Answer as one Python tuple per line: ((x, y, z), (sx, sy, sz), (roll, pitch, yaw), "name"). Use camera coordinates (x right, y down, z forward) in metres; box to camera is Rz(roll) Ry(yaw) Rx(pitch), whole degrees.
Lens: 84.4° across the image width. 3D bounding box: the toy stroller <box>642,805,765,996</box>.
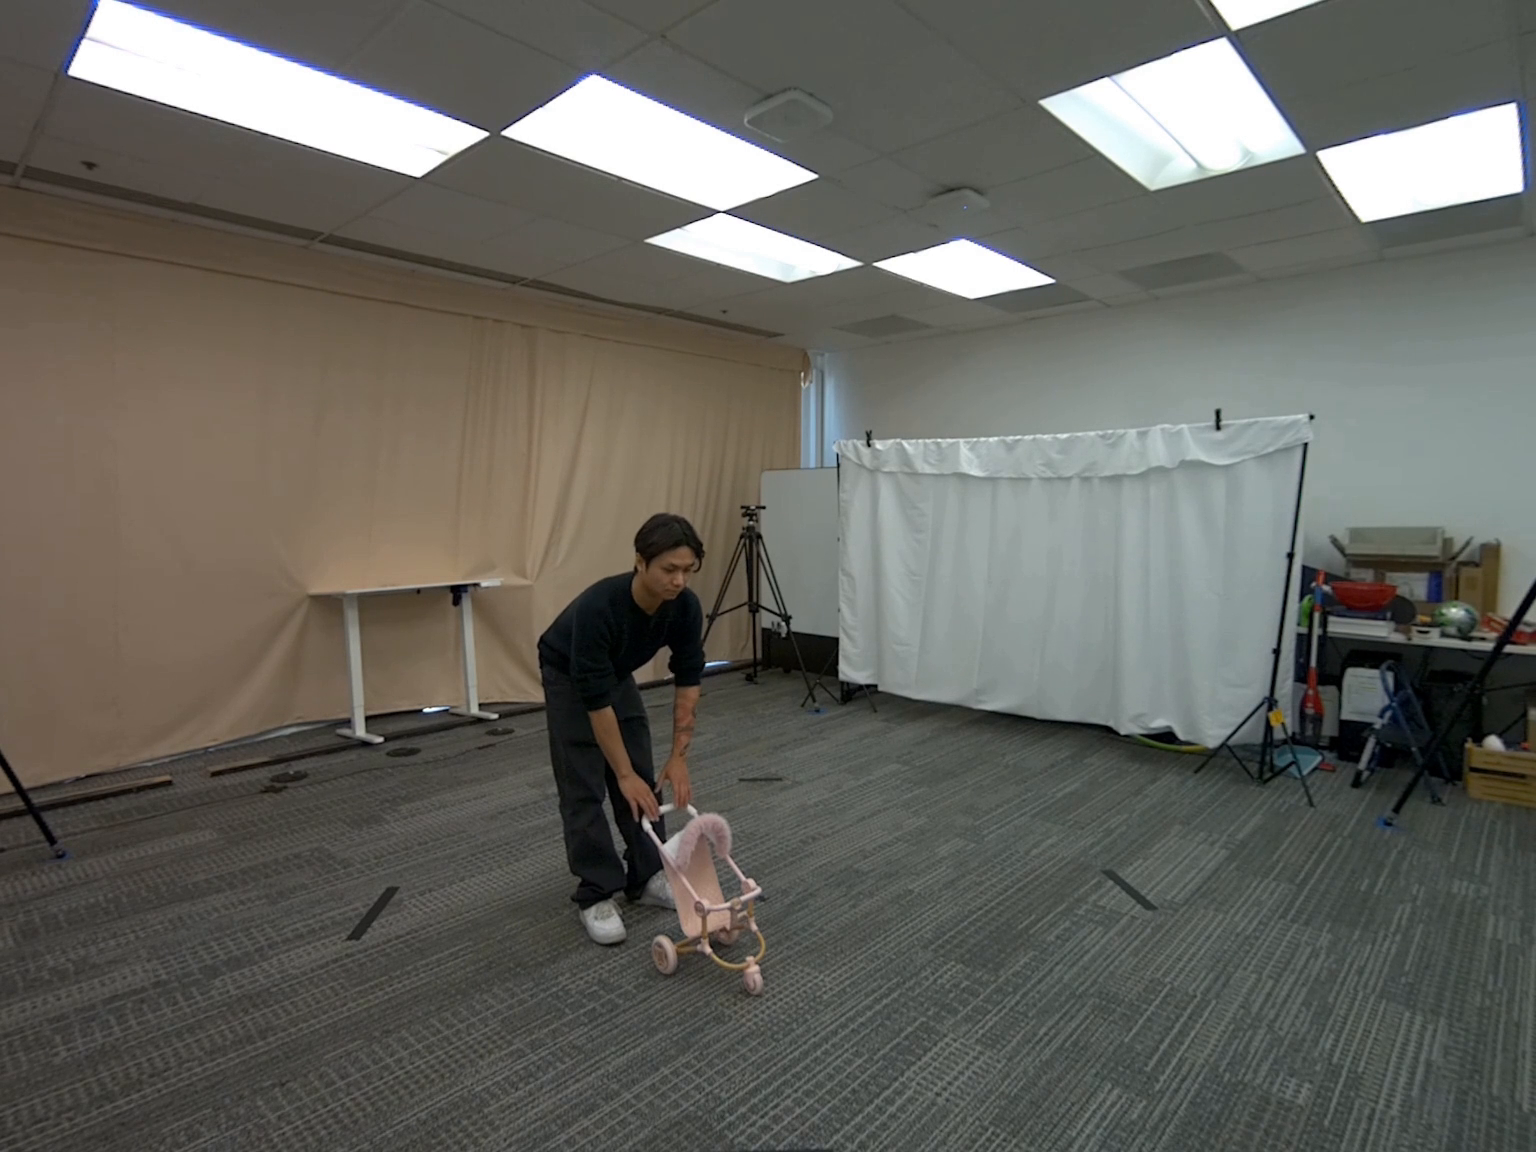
((-0.175, 0.957, 2.536), (0.273, 0.539, 0.349), (-3, -12, -39), "toy stroller")
